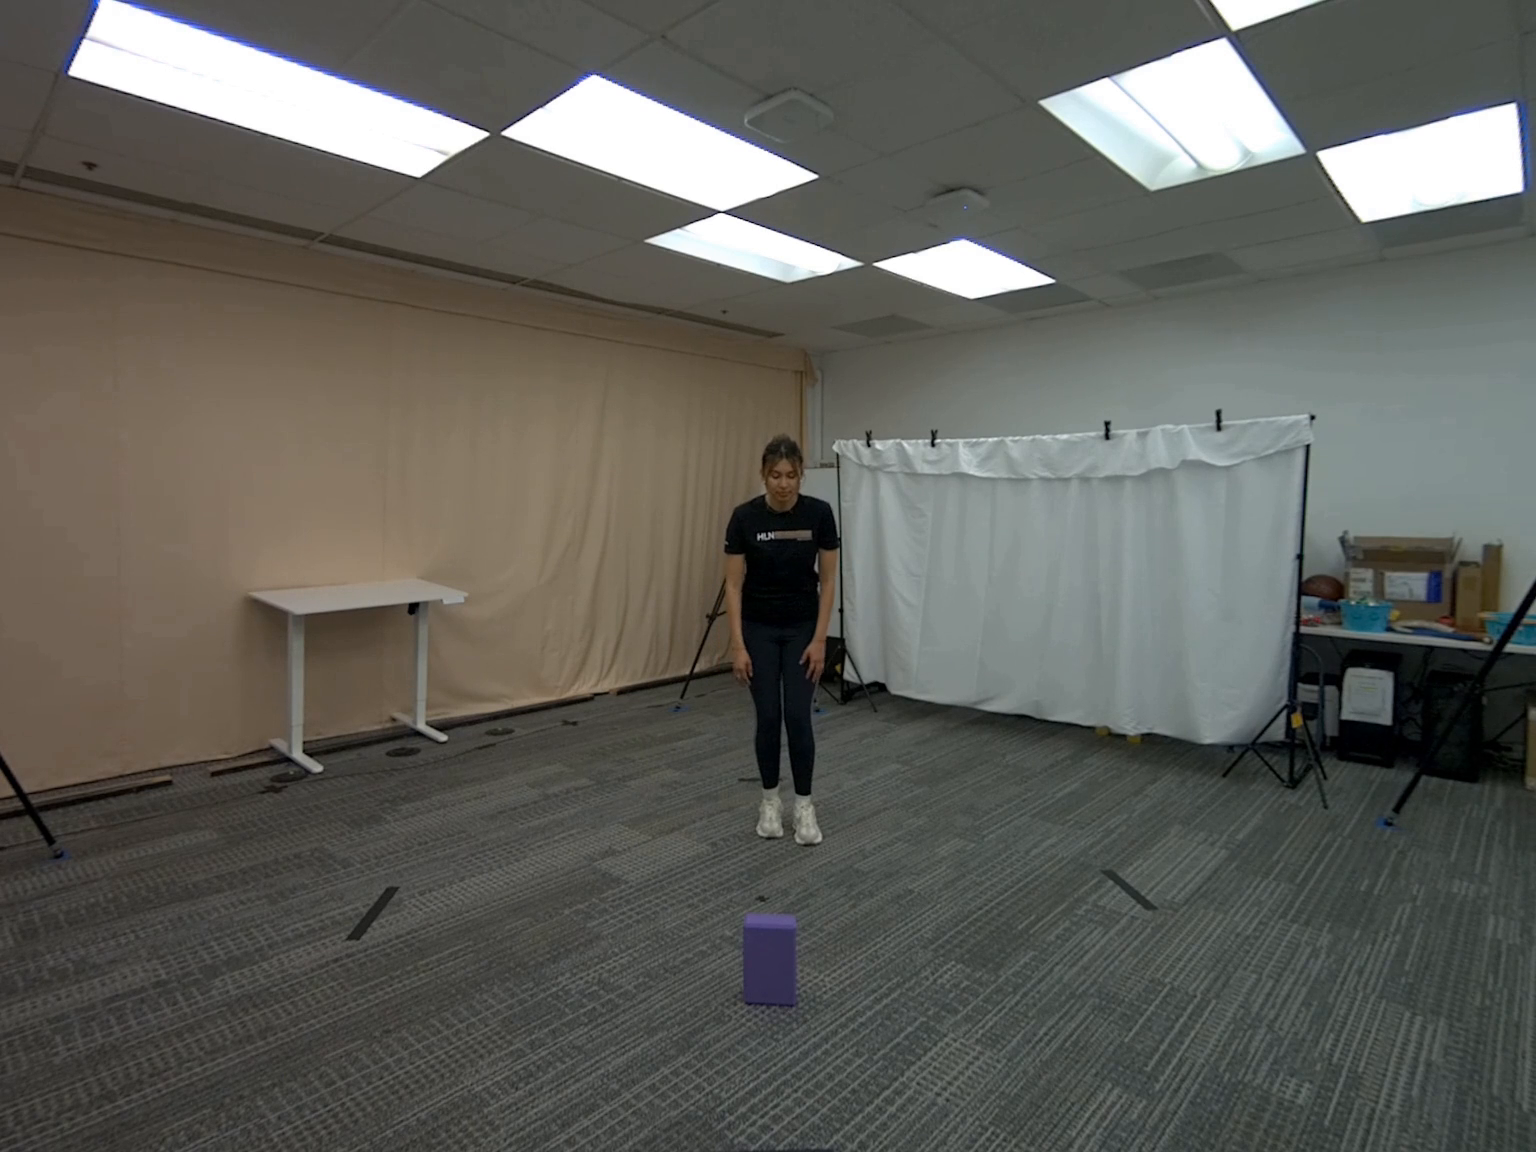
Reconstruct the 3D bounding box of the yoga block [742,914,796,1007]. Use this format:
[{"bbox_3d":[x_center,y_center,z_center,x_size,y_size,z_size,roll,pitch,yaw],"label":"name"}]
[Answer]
[{"bbox_3d":[0.008,1.076,2.374,0.150,0.229,0.076,1,3,4],"label":"yoga block"}]
